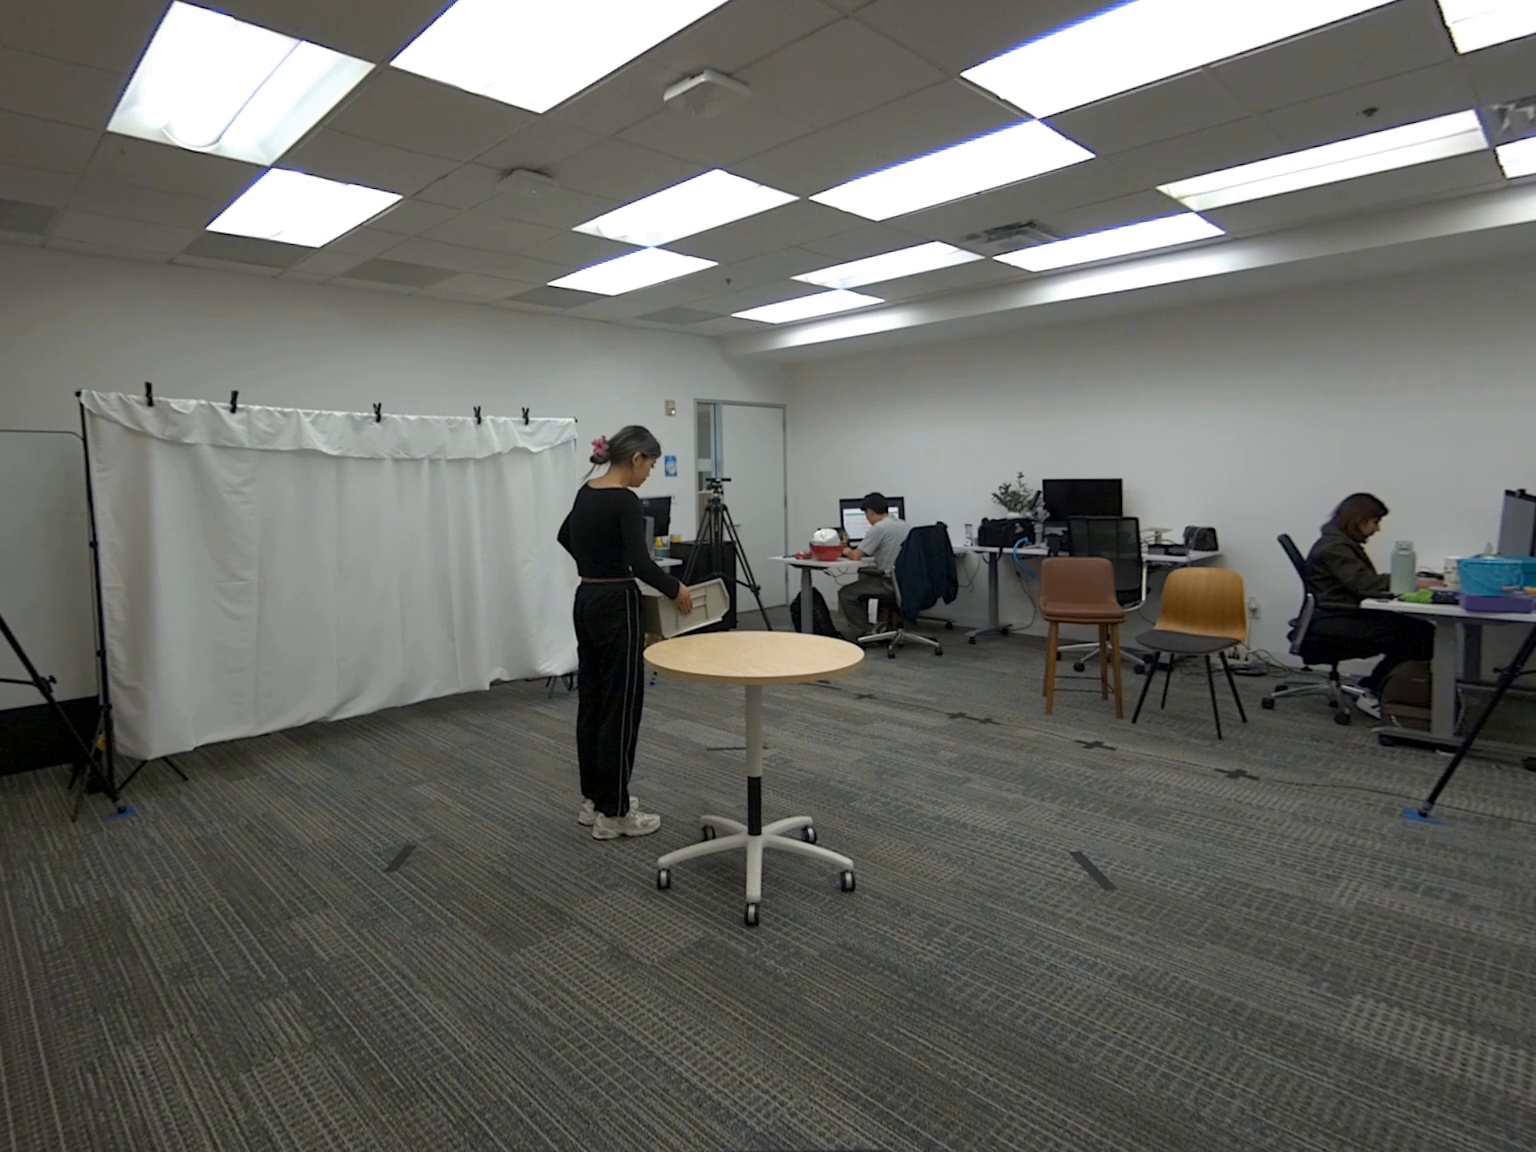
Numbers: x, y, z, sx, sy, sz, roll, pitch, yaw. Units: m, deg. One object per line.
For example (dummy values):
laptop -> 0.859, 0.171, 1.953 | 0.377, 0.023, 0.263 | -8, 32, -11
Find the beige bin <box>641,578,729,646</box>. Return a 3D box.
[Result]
beige bin -> -0.440, 0.113, 3.677 | 0.370, 0.187, 0.435 | -18, 16, -42
